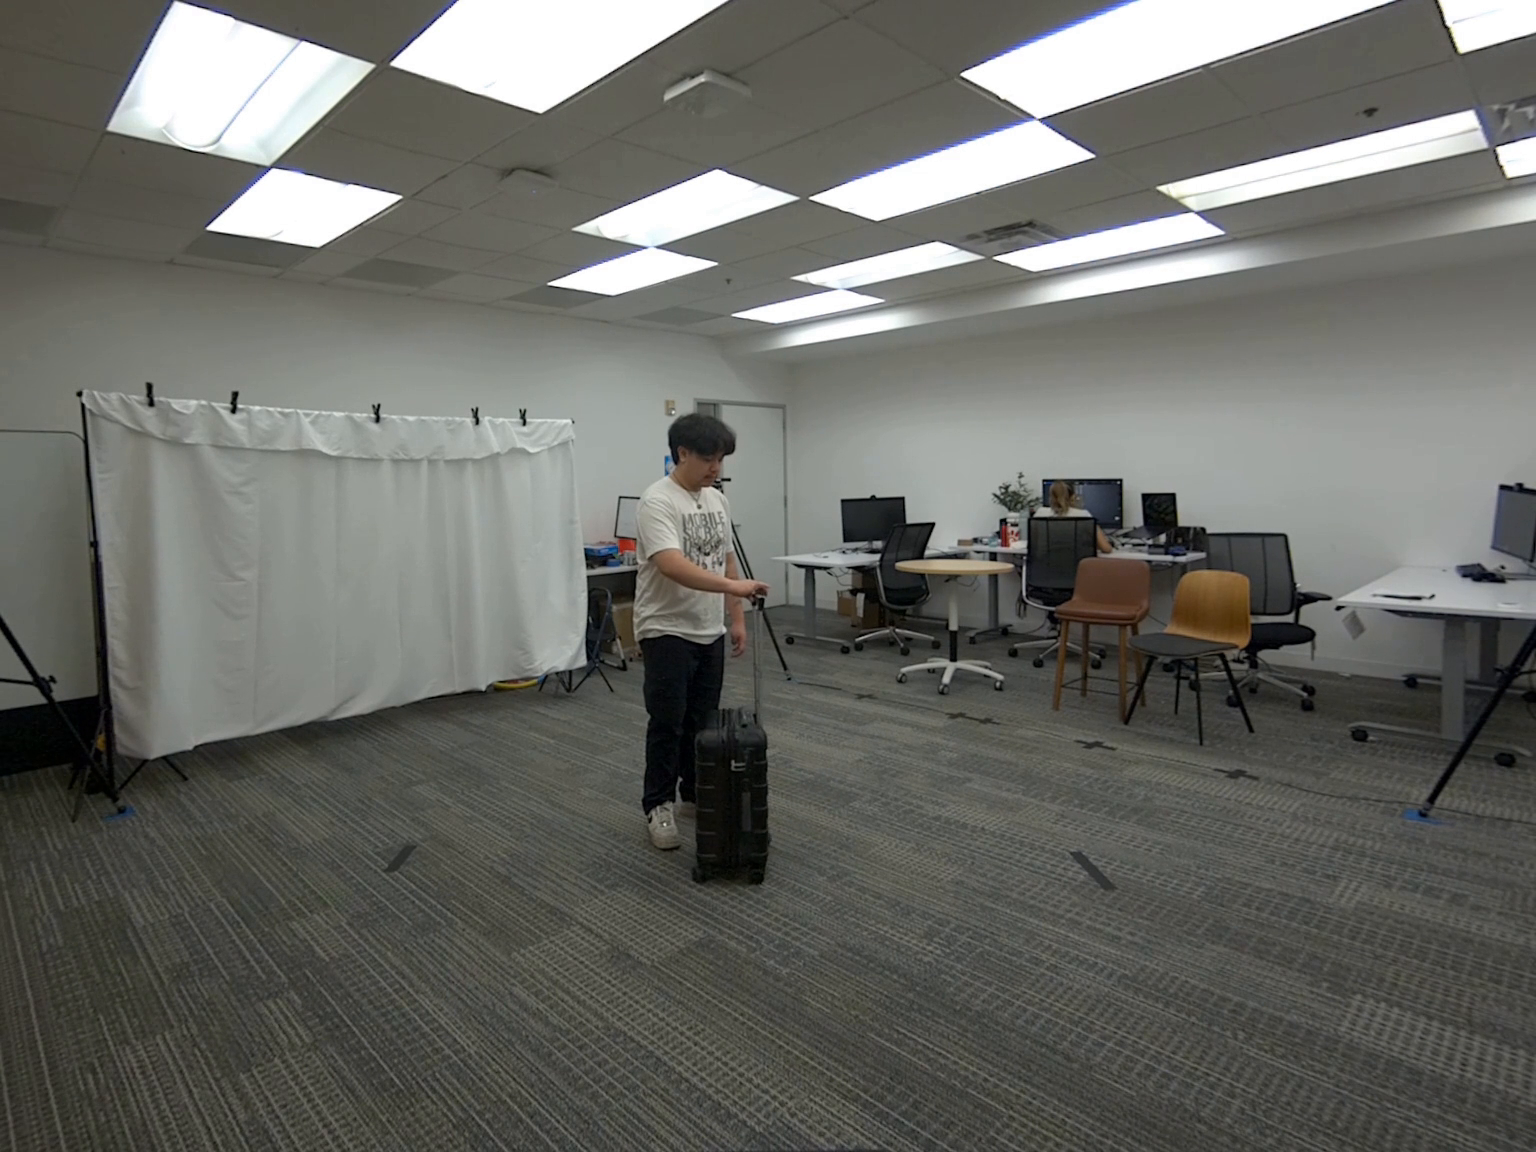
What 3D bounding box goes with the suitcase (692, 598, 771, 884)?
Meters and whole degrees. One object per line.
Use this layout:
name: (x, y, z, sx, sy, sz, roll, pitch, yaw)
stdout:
suitcase: (-0.131, 0.576, 3.073, 0.257, 0.976, 0.385, -3, 2, -2)
